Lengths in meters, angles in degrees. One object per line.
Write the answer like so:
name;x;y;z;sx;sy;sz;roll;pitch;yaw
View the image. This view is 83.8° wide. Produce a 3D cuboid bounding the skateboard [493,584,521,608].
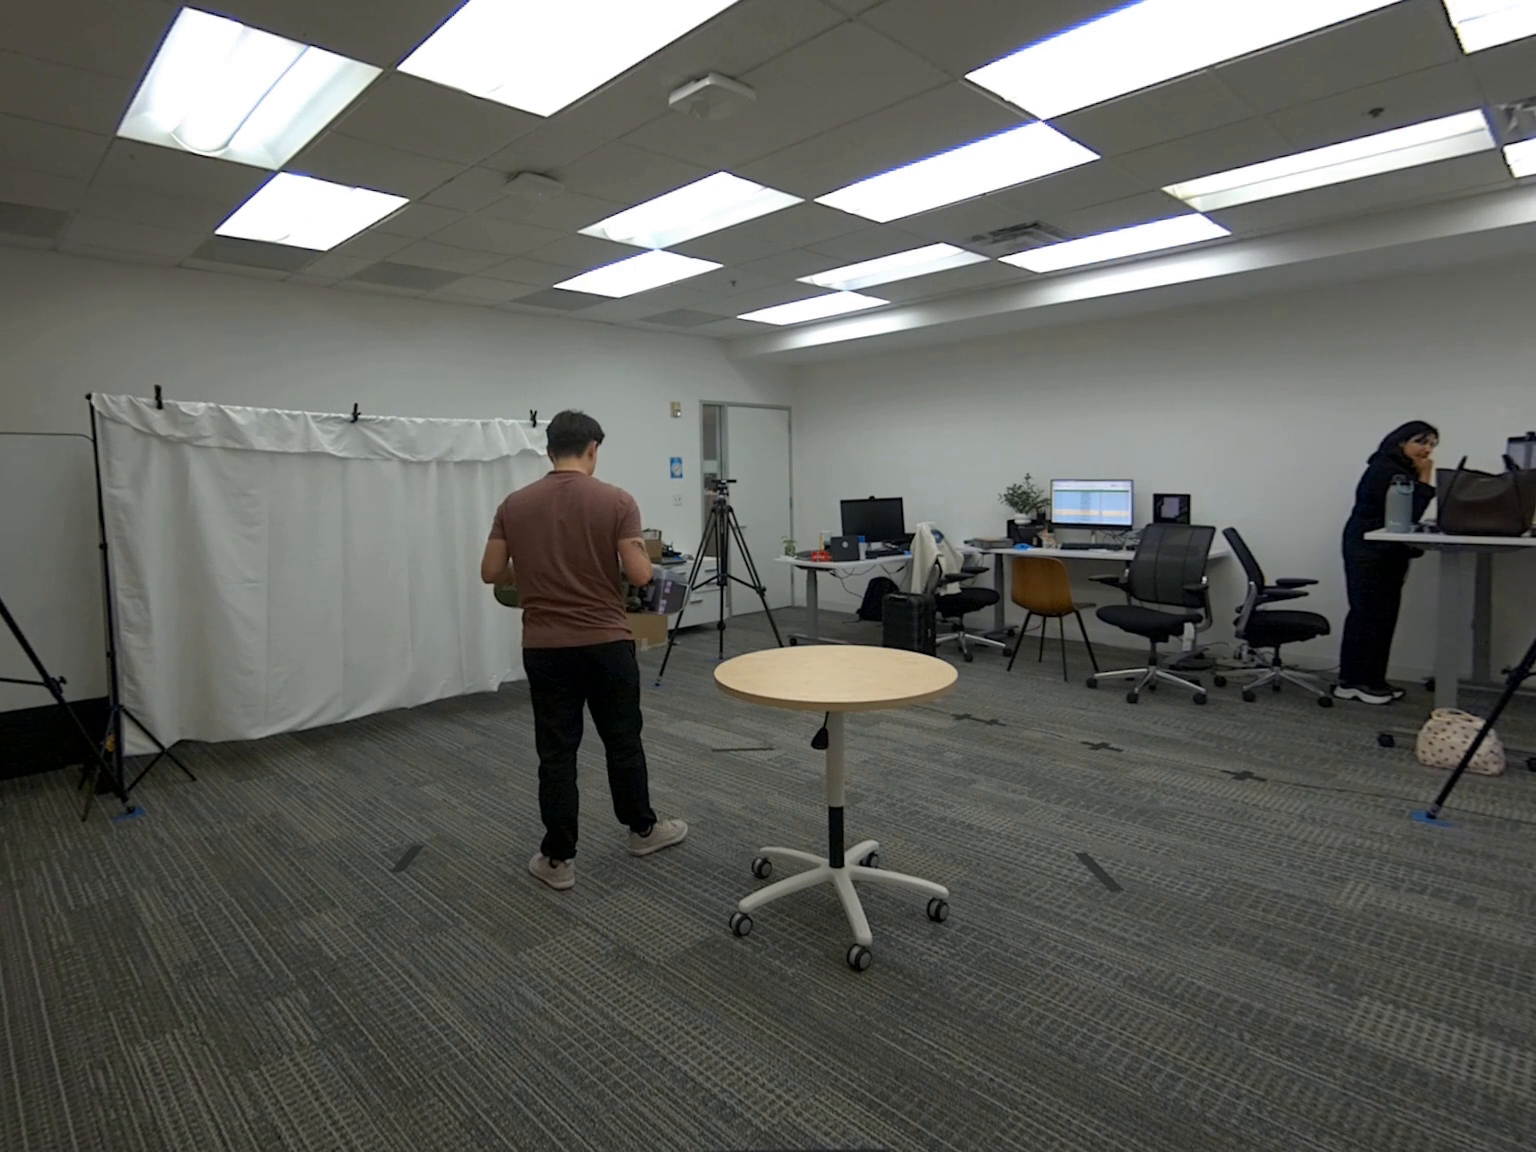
skateboard;-0.678;0.037;3.267;0.791;0.197;0.107;3;-29;6
